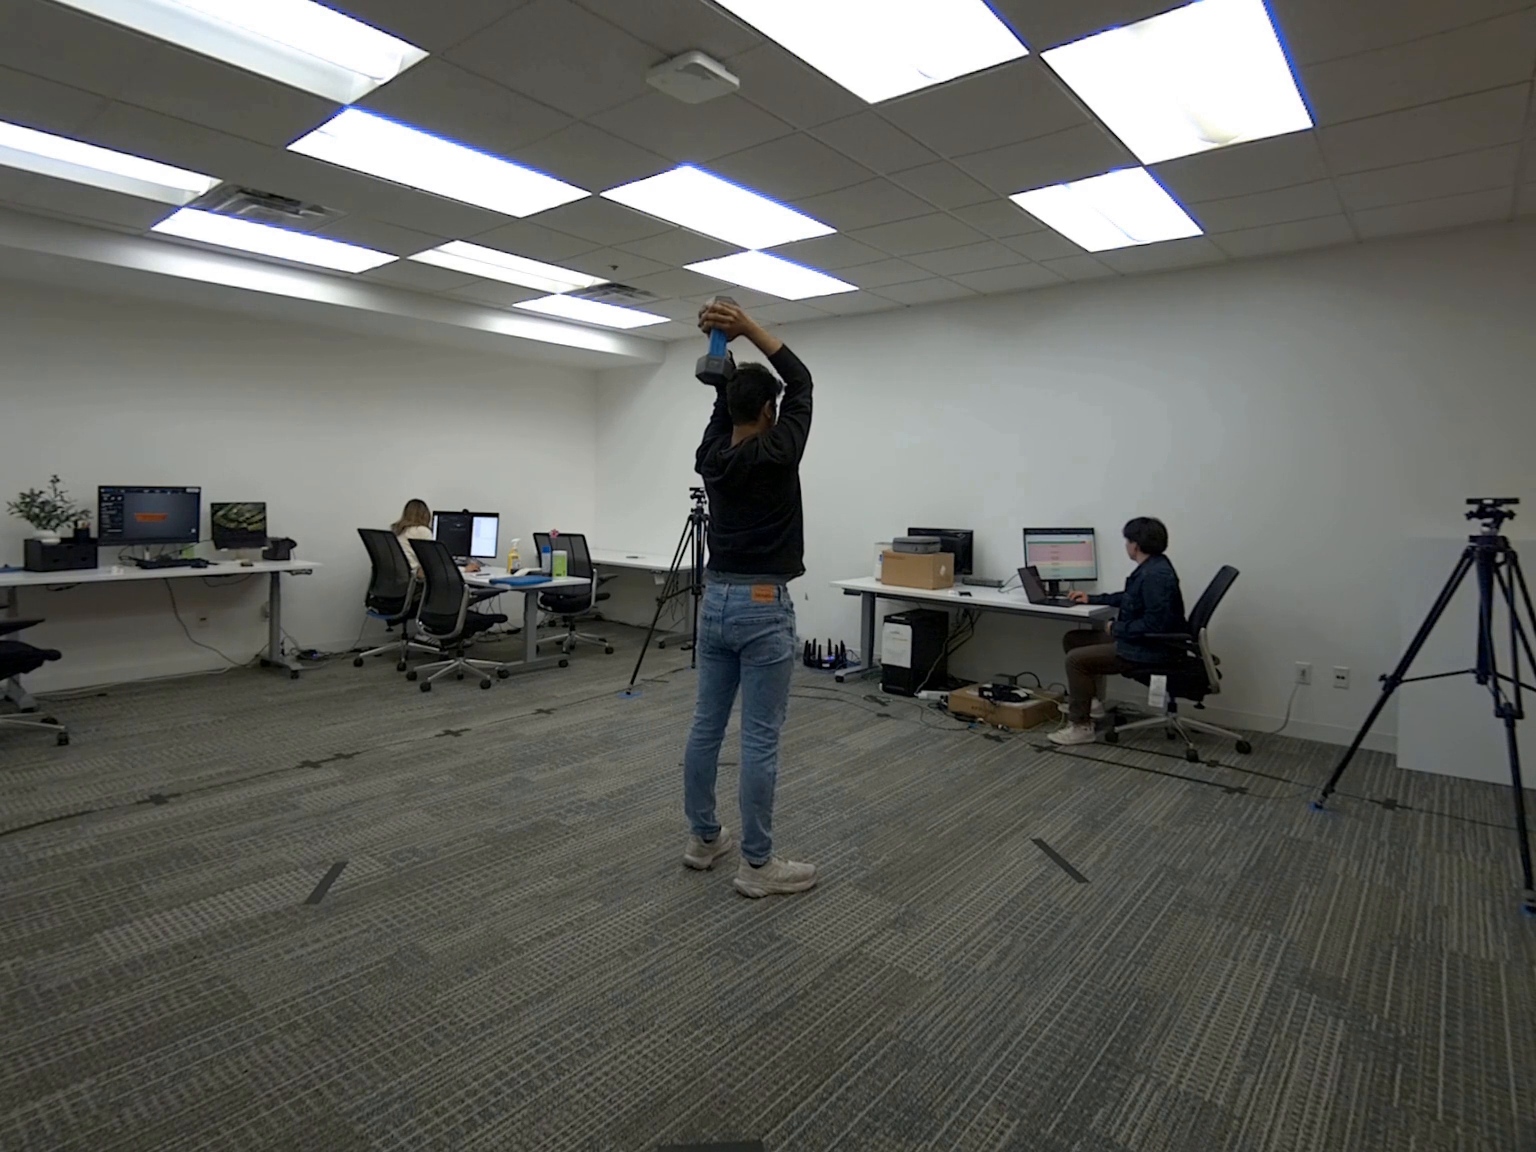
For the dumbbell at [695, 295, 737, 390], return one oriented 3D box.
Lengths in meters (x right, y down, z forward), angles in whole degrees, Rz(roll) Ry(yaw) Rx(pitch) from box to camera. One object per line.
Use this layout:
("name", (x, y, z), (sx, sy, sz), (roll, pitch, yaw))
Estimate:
("dumbbell", (-0.173, -0.798, 2.903), (0.105, 0.296, 0.126), (15, -13, -34))
